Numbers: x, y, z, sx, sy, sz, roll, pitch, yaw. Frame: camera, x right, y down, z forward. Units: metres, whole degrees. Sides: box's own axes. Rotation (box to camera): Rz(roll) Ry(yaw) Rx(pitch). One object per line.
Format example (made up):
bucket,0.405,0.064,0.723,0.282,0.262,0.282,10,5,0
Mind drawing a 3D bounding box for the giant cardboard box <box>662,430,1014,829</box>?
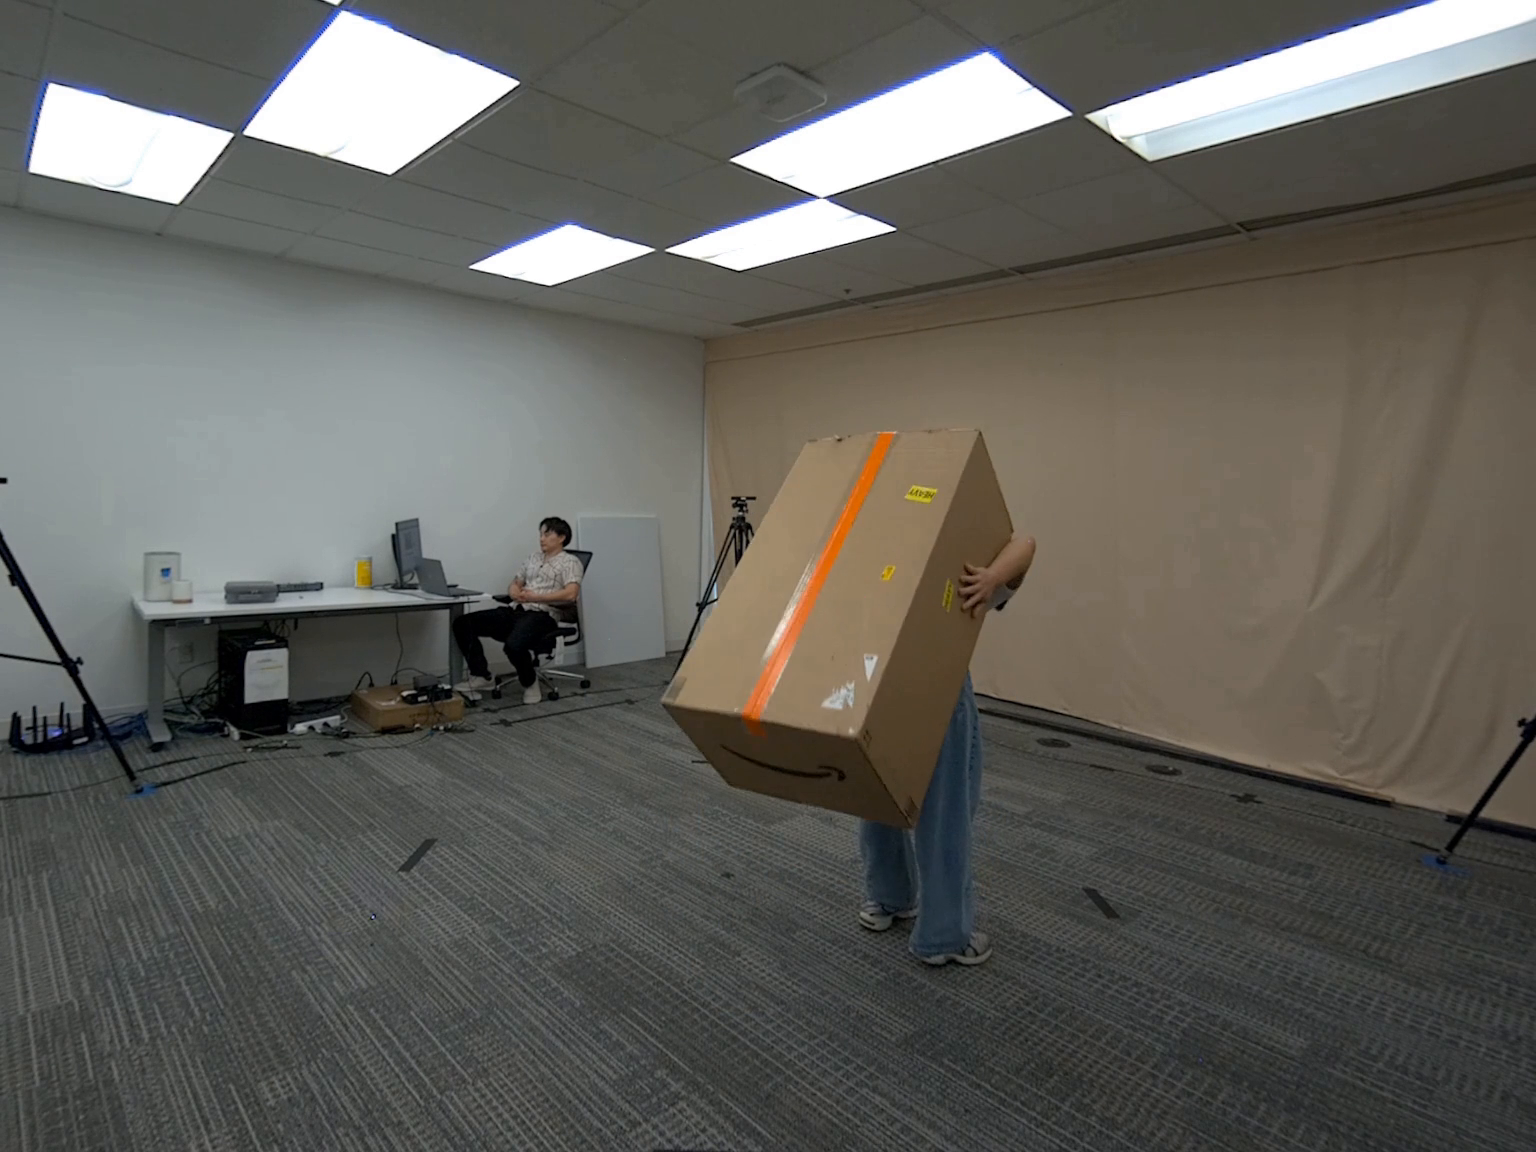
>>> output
giant cardboard box,0.229,0.099,2.378,0.591,1.033,0.413,2,-40,36
